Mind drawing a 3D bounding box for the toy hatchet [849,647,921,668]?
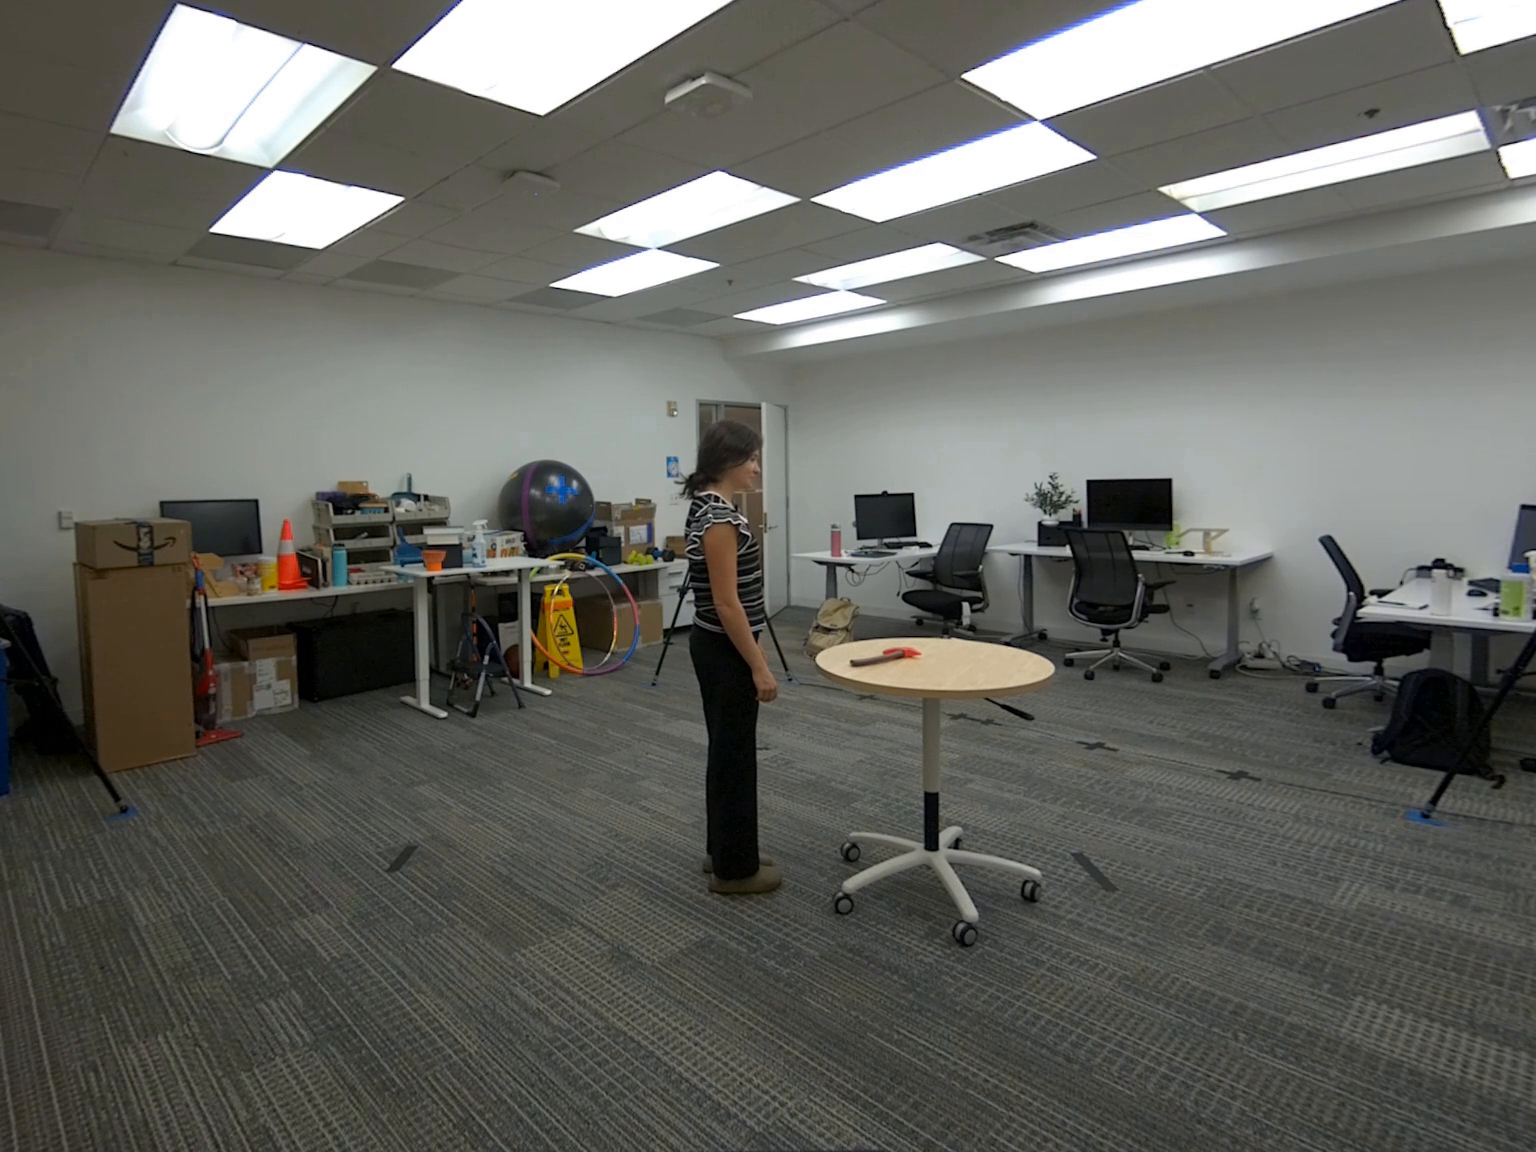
[{"bbox_3d":[0.374,0.269,2.867,0.265,0.029,0.134,-5,7,-24],"label":"toy hatchet"}]
